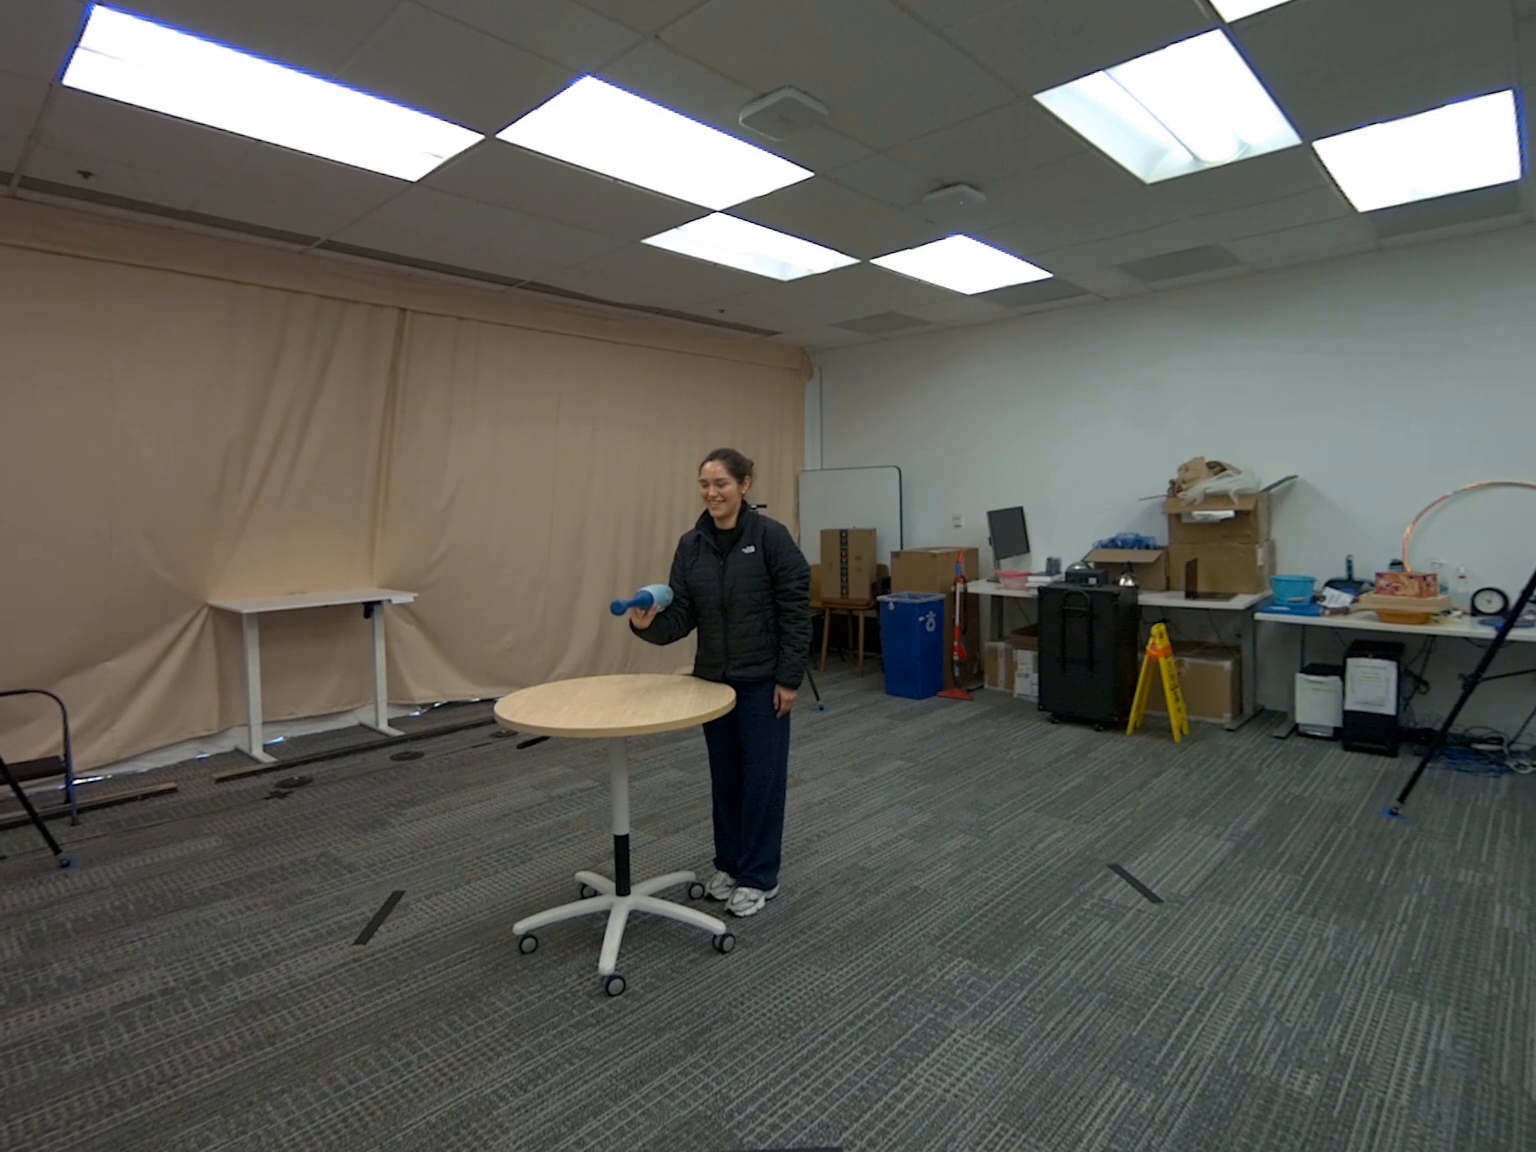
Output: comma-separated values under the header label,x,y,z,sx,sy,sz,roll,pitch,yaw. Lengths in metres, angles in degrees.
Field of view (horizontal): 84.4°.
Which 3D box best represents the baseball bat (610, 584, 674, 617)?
label,x,y,z,sx,sy,sz,roll,pitch,yaw
baseball bat,-0.394,0.083,2.703,0.089,0.089,0.540,0,2,4
